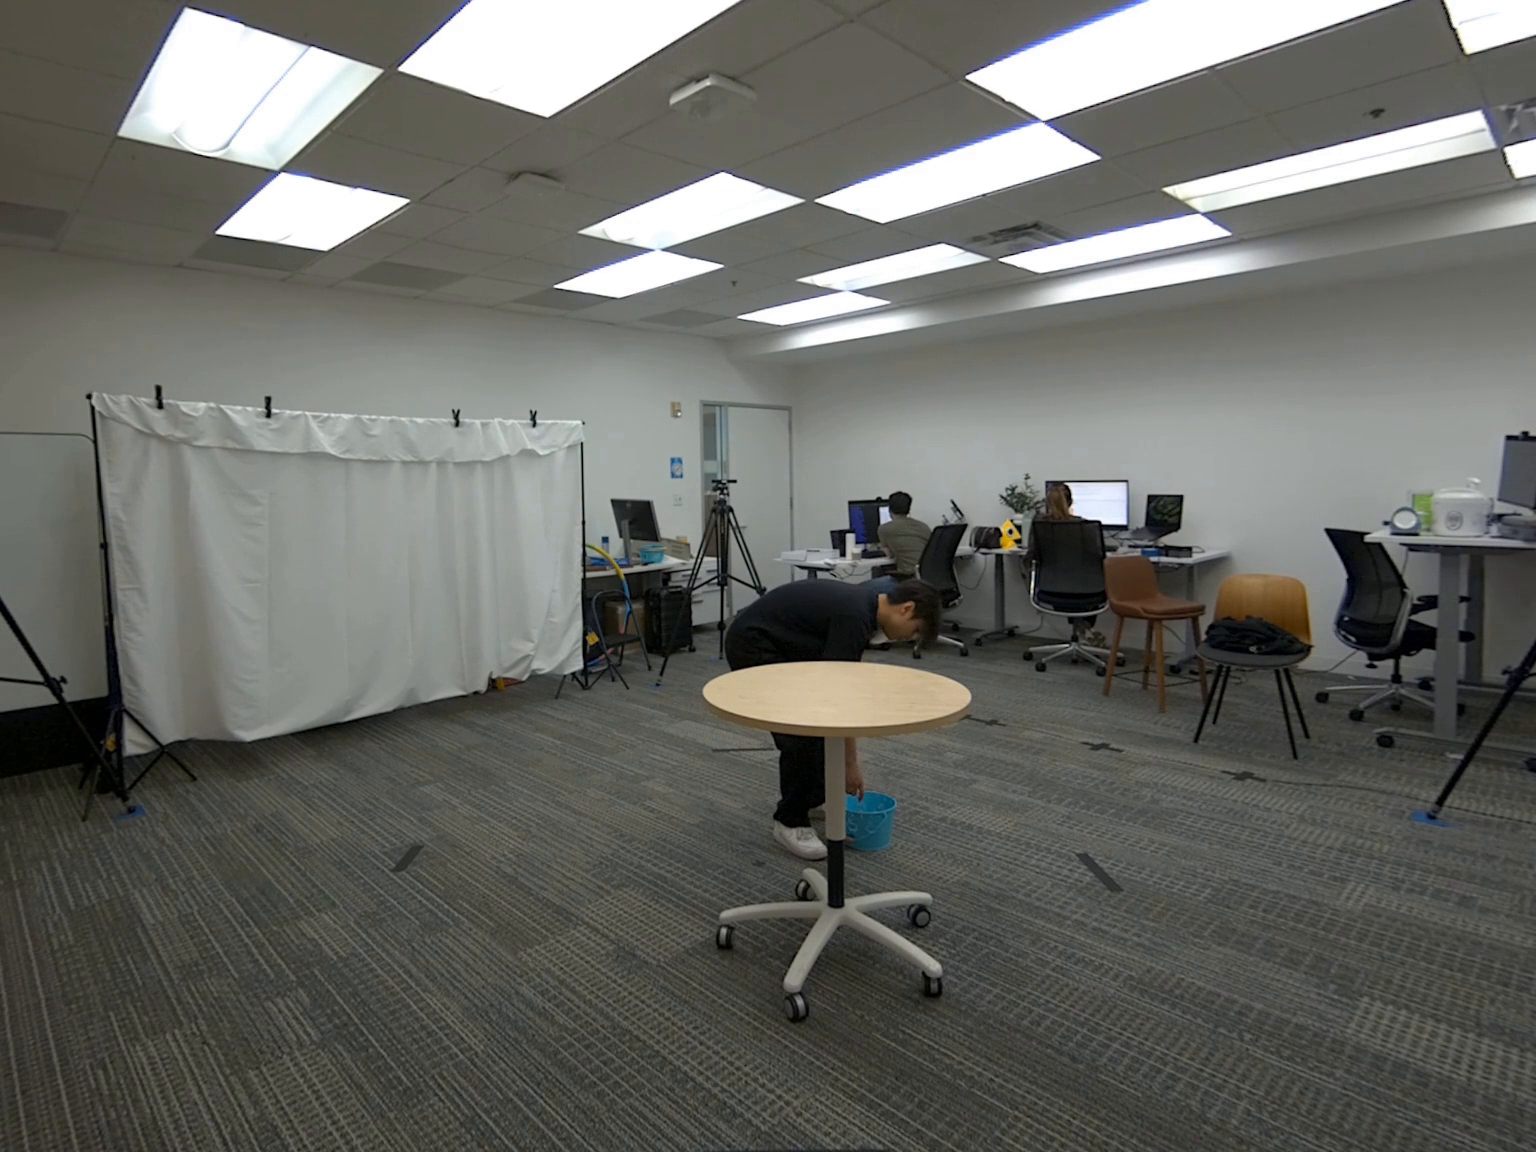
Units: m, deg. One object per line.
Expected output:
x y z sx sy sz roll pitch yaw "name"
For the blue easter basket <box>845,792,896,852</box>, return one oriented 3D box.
0.368 0.935 3.287 0.243 0.155 0.245 -1 6 -2 "blue easter basket"
